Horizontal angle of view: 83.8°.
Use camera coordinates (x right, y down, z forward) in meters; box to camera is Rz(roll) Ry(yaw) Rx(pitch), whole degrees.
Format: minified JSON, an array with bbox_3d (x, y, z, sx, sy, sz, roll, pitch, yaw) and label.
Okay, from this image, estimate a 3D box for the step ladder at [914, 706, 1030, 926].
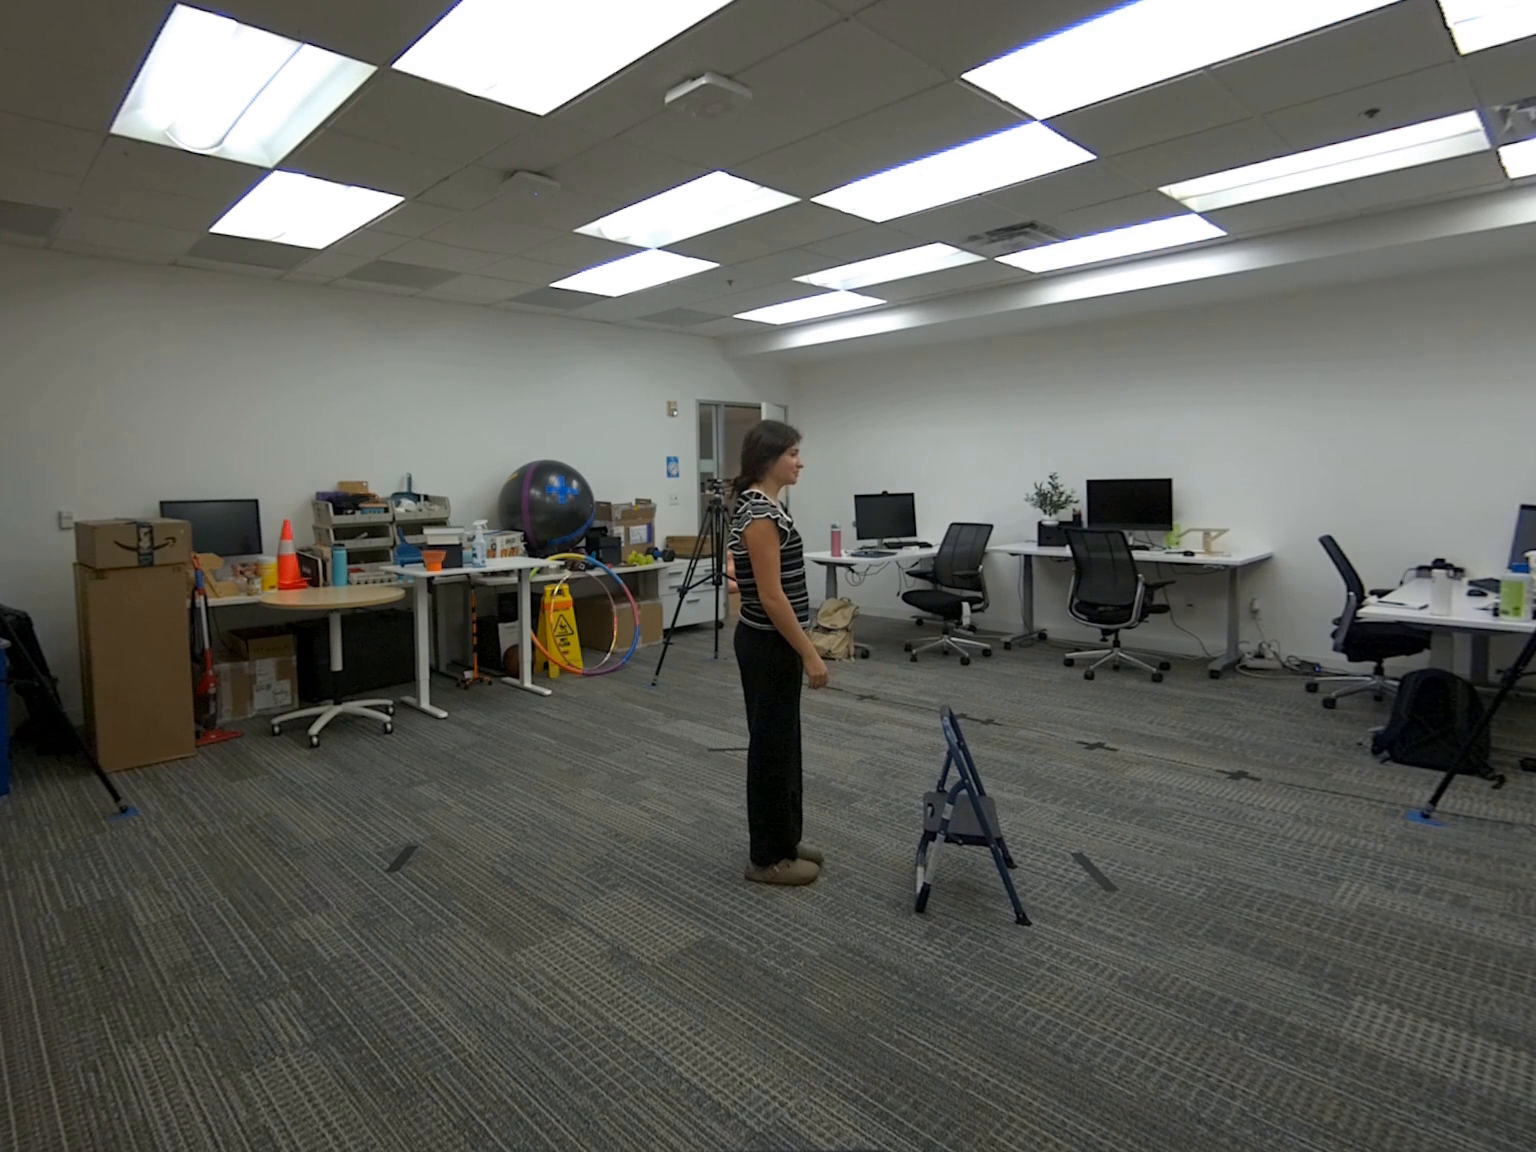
[{"bbox_3d":[0.676,0.755,2.863,0.353,0.604,0.427,0,5,11],"label":"step ladder"}]
